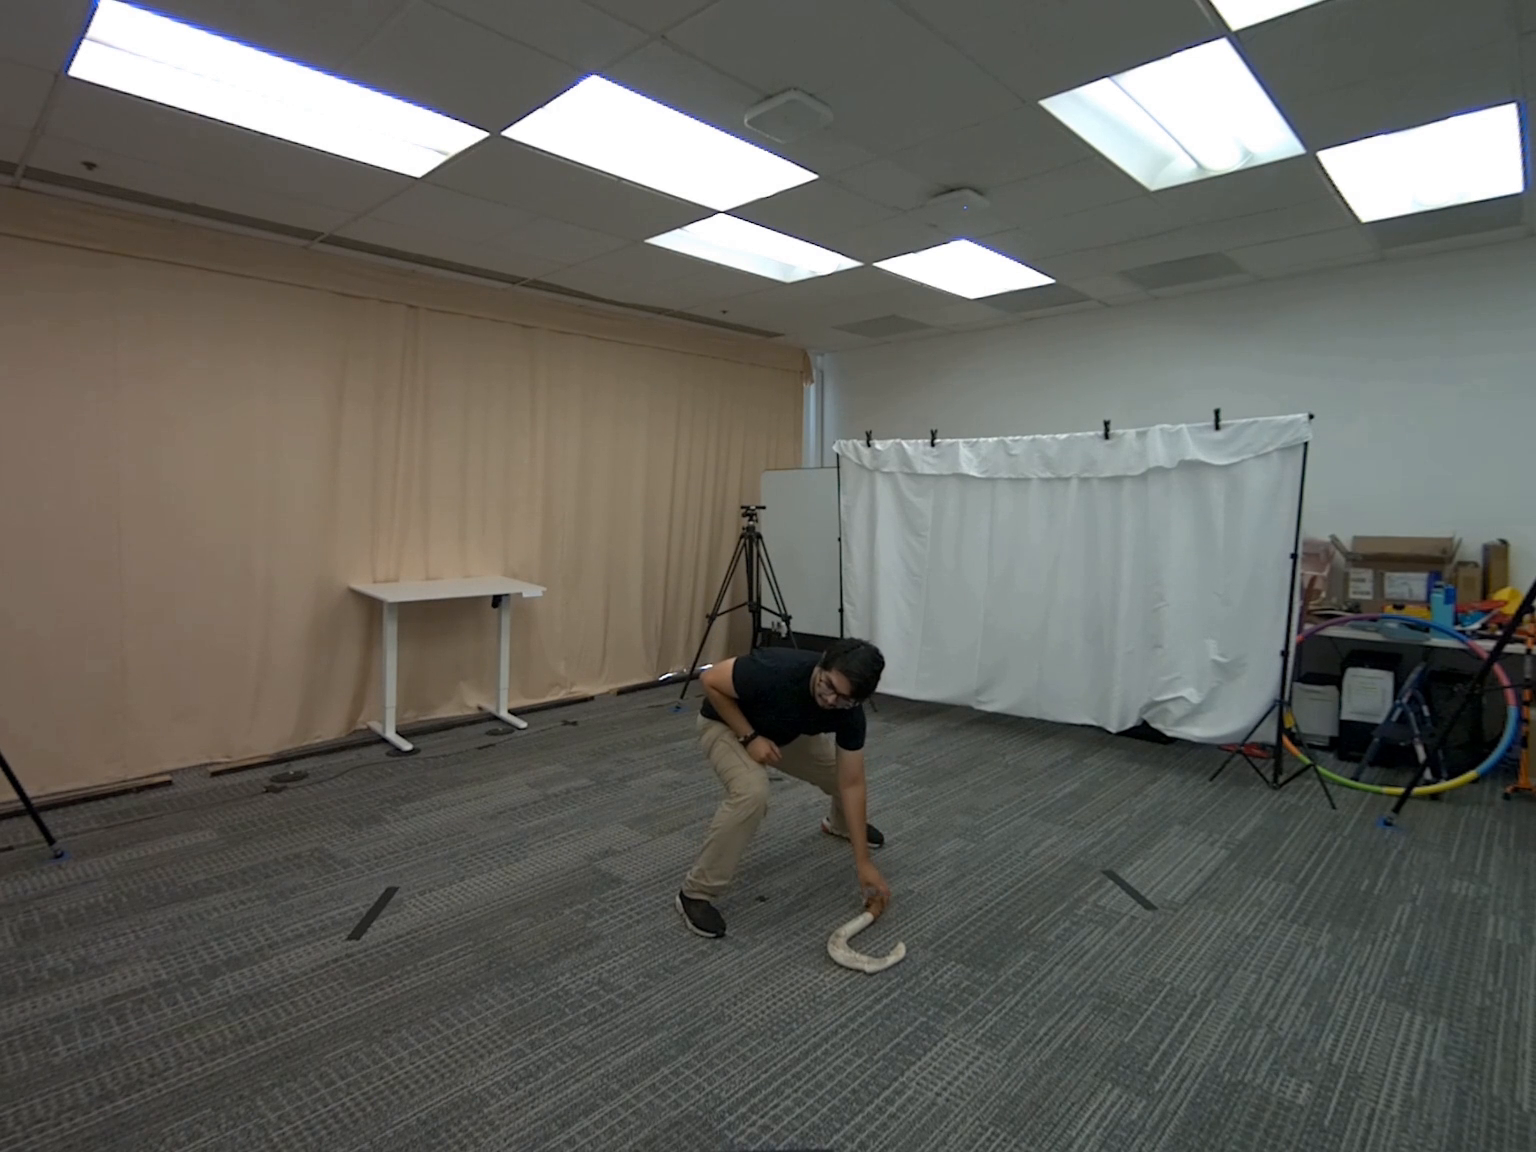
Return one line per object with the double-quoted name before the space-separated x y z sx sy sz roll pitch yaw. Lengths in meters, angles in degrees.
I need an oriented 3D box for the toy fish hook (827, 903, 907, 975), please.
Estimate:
"toy fish hook" 0.351 1.144 2.733 0.231 0.048 0.495 10 10 24
